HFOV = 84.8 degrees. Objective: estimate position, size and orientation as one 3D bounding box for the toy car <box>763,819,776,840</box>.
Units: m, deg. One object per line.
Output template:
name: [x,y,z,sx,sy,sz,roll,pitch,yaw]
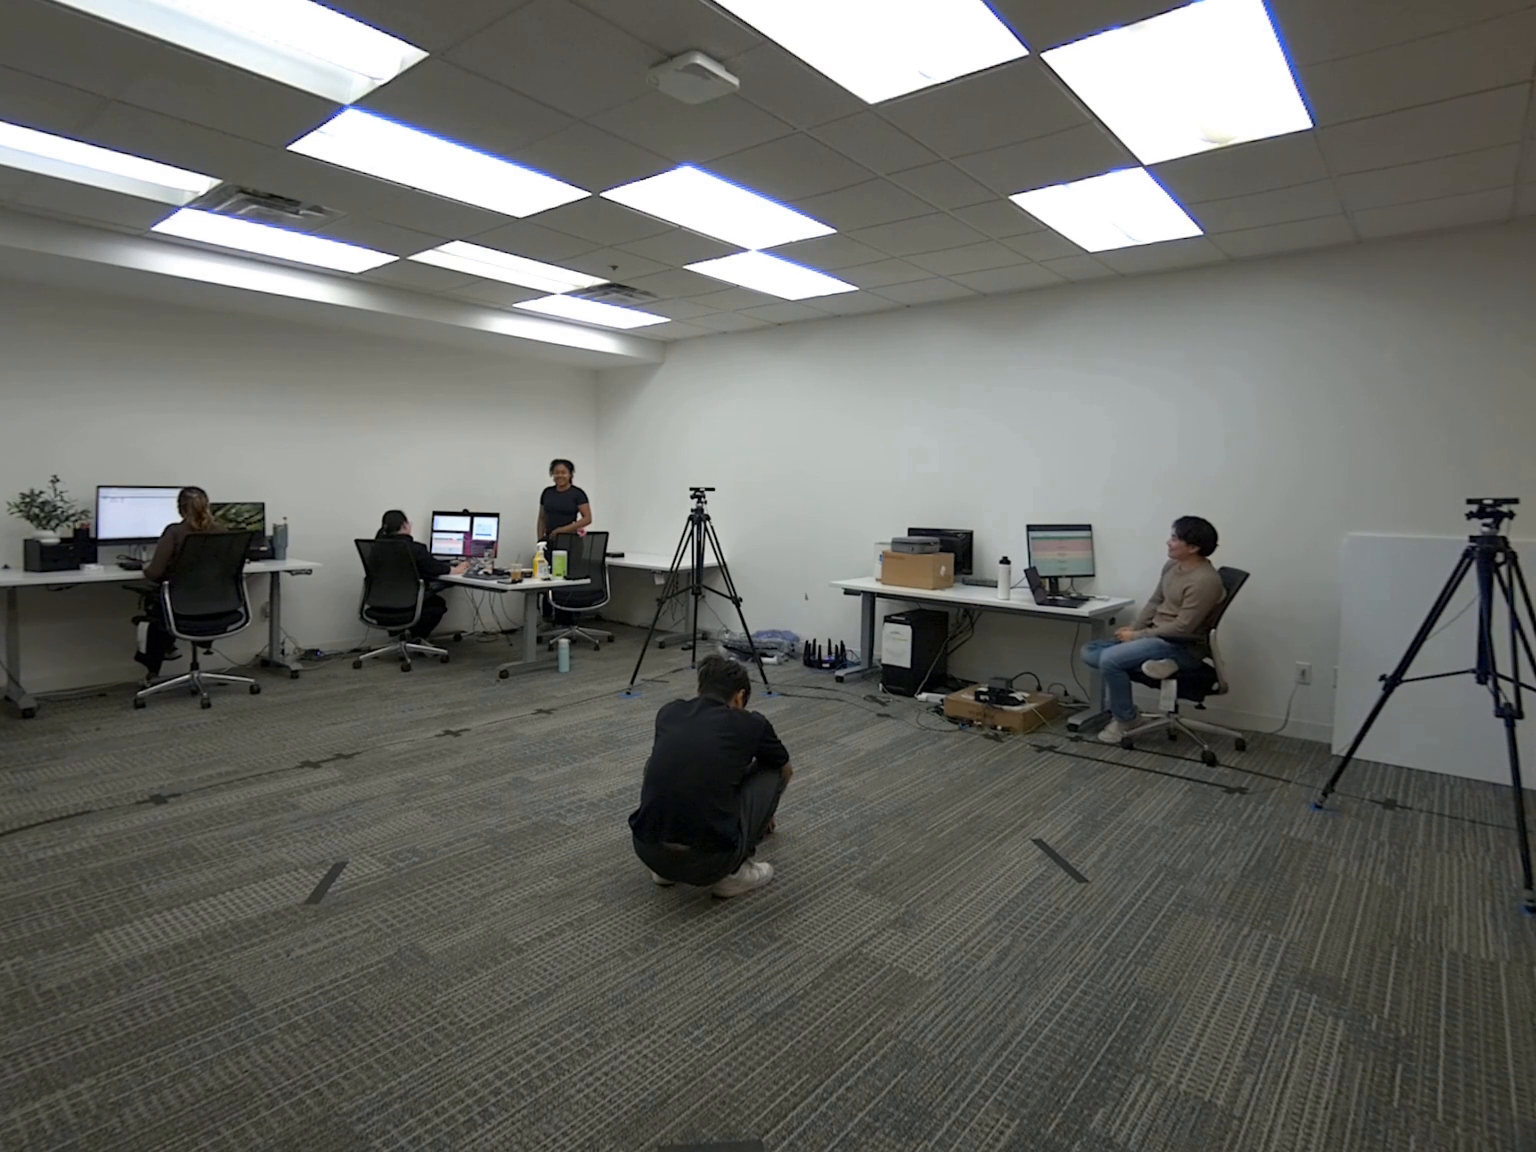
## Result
toy car: [-0.084,1.001,3.388,0.134,0.083,0.246,4,-5,28]
